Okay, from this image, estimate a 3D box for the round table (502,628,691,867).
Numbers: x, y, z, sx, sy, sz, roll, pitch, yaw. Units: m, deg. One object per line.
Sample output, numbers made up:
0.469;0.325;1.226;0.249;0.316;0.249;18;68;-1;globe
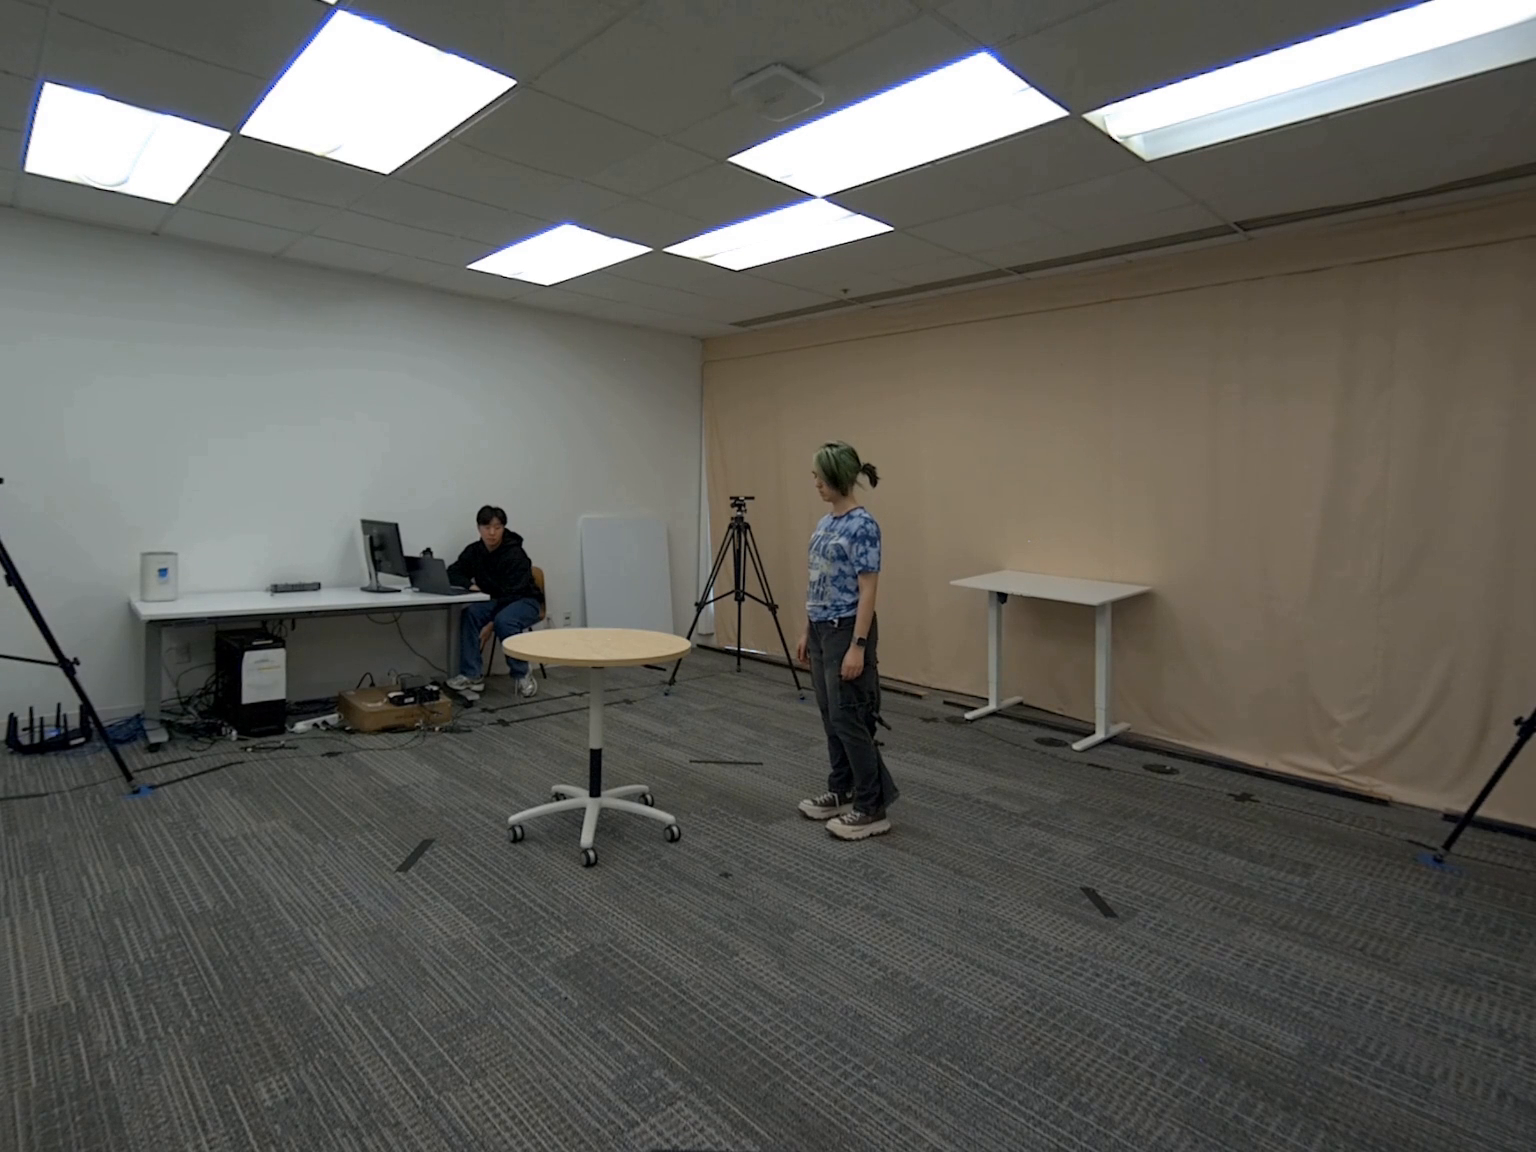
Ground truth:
-0.720;0.669;3.486;0.763;0.792;0.766;1;4;-1;round table
